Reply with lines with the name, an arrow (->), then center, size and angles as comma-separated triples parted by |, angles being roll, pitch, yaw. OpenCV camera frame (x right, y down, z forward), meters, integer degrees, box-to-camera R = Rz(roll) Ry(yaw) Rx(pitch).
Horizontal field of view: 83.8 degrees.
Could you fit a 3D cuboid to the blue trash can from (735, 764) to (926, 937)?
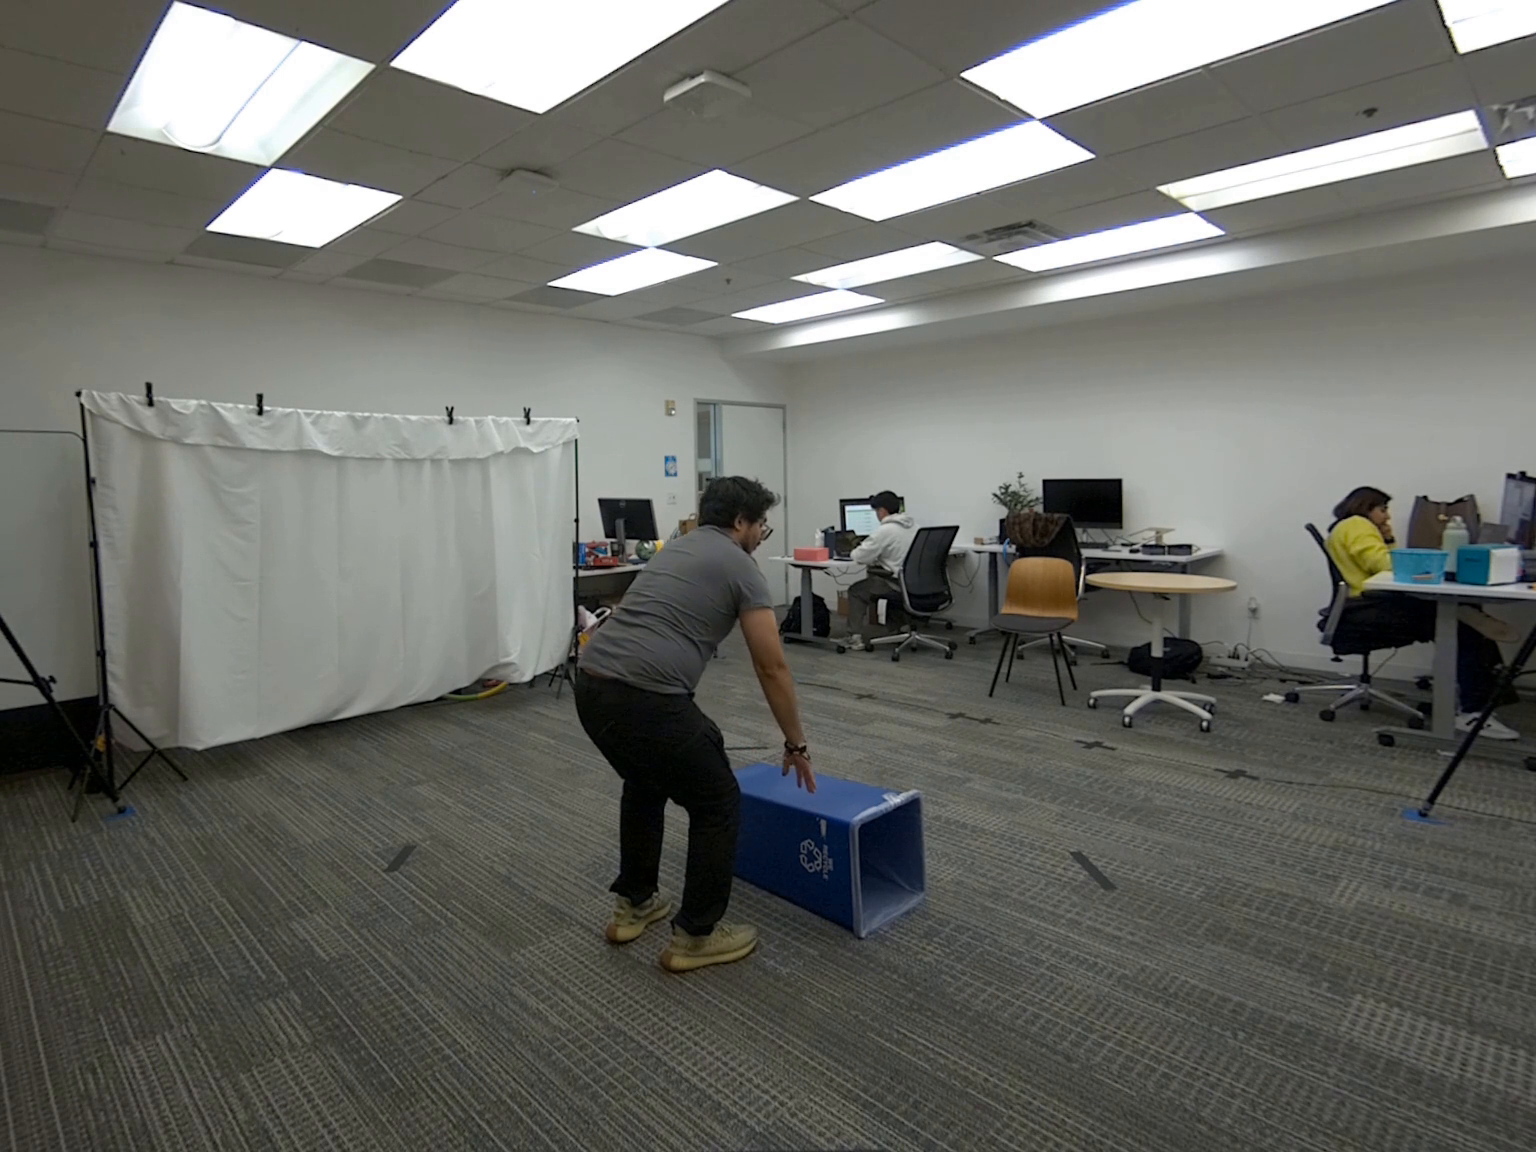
blue trash can -> 0.142, 0.886, 2.951 | 0.364, 0.377, 0.735 | -7, 7, -44
